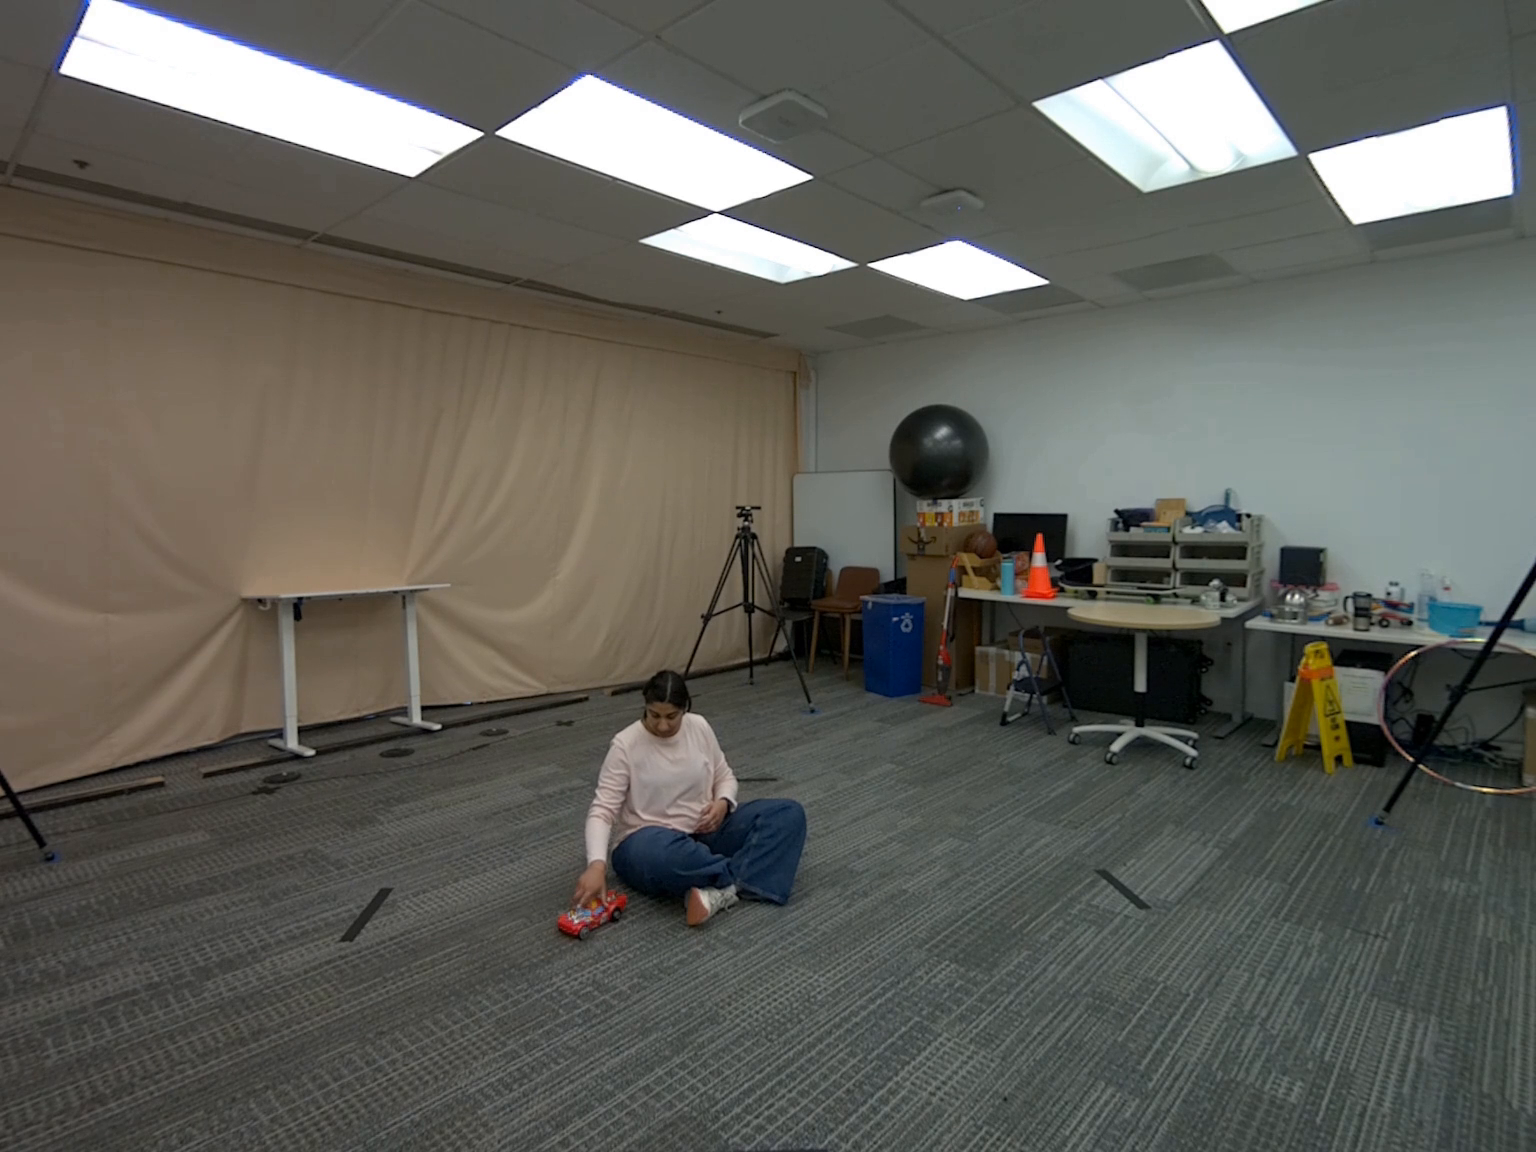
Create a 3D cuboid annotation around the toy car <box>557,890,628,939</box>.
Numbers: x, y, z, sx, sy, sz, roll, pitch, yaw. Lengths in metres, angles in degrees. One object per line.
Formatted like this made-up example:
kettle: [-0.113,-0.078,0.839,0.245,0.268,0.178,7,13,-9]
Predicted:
toy car: [-0.580,1.123,2.822,0.134,0.082,0.249,1,15,38]
